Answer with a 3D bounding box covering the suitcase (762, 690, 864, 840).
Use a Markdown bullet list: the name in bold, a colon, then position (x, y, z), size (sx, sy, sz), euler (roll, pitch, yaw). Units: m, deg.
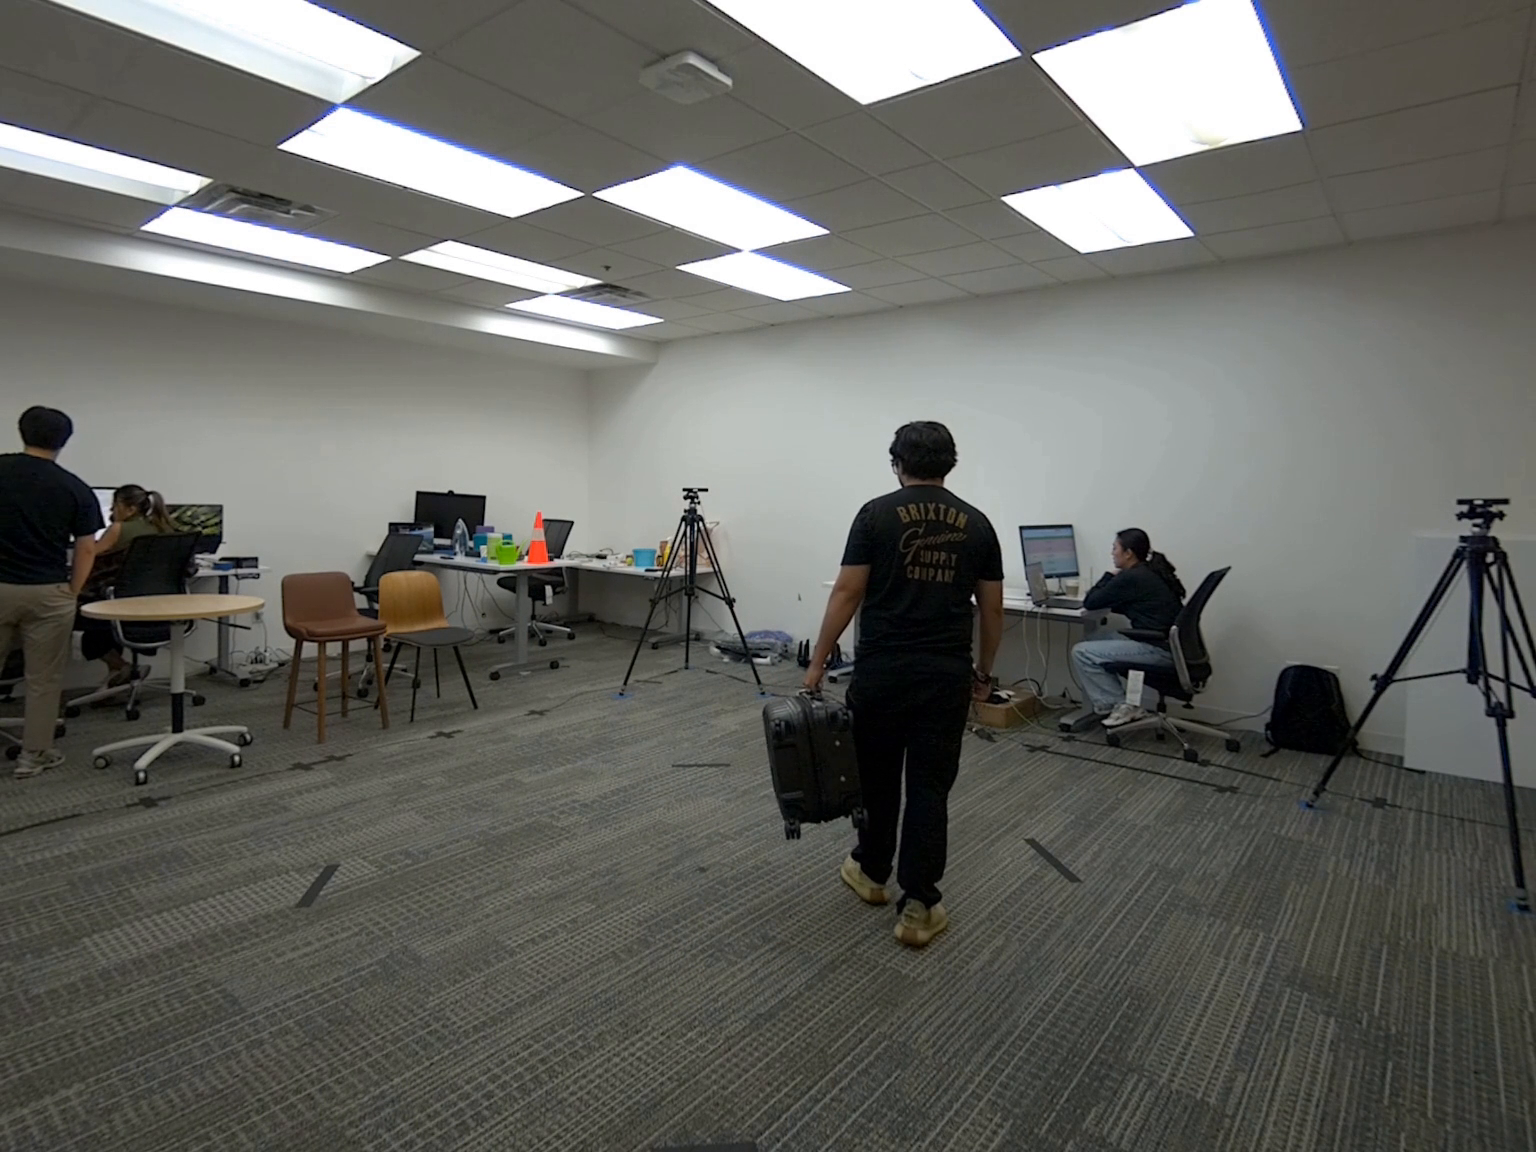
- **suitcase**: position (0.105, 0.588, 3.015), size (0.256, 0.386, 0.978), euler (-8, -2, -5)
